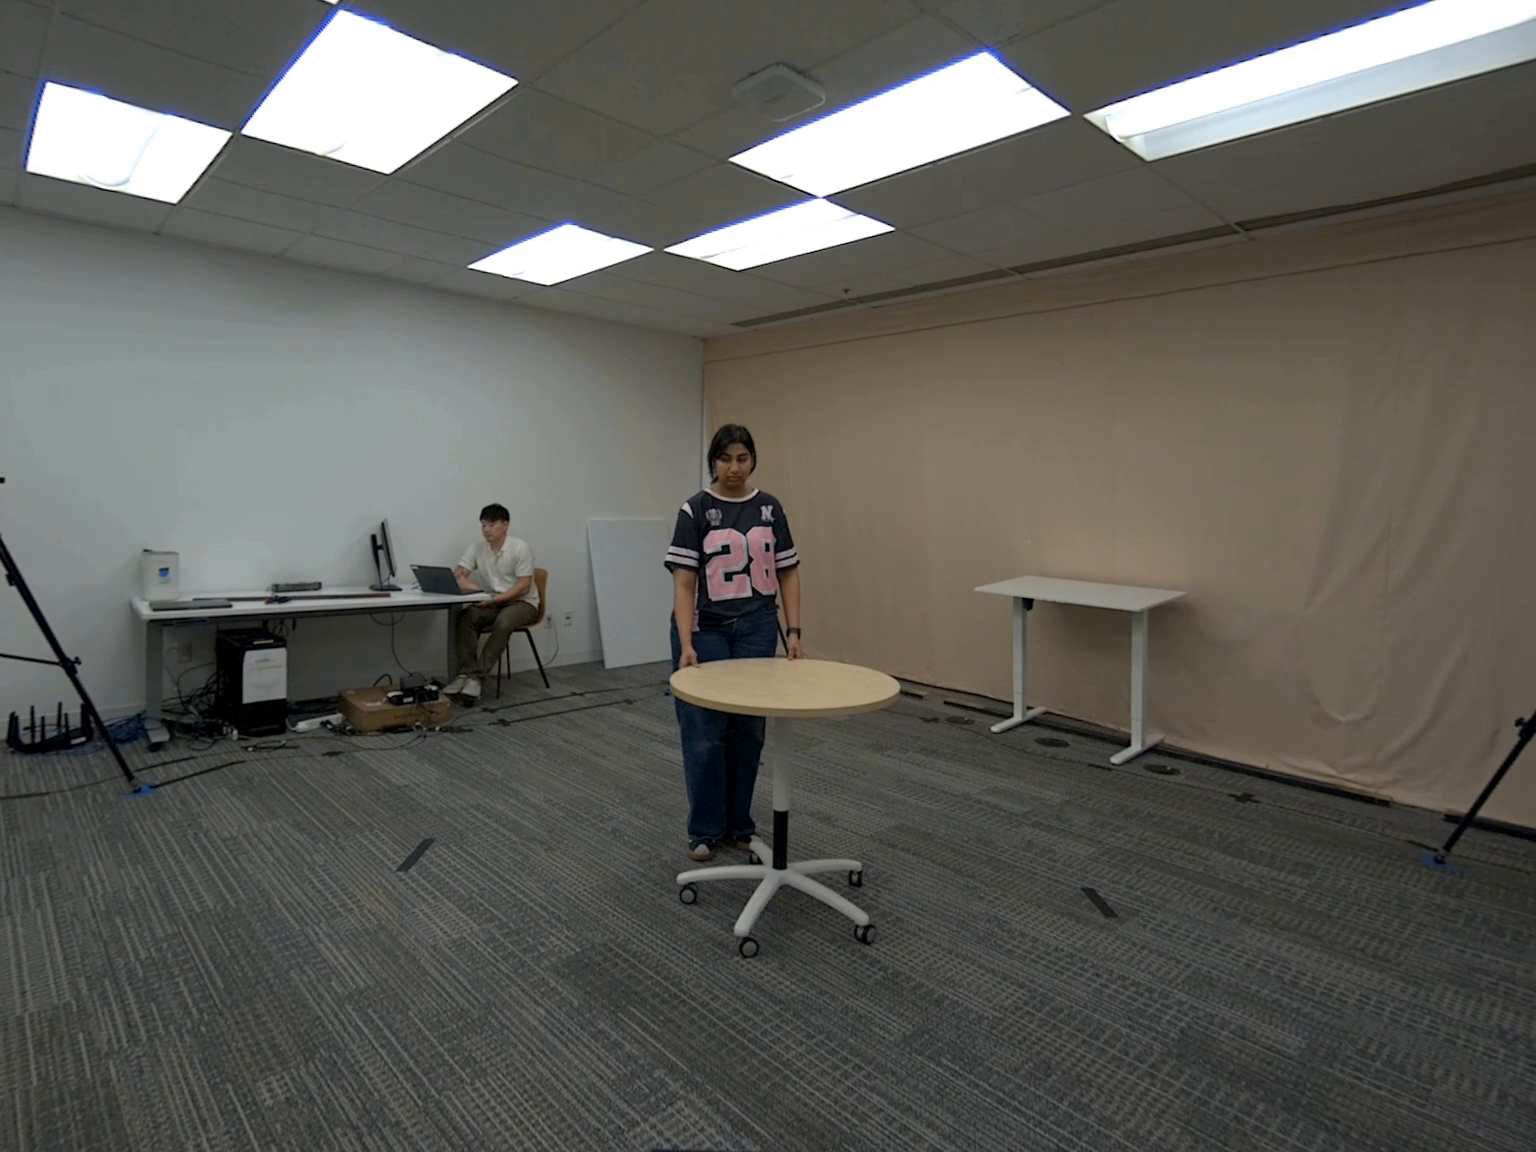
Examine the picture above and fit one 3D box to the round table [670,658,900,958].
[{"bbox_3d":[0.036,0.738,2.856,0.784,0.784,0.788,1,5,-1],"label":"round table"}]
